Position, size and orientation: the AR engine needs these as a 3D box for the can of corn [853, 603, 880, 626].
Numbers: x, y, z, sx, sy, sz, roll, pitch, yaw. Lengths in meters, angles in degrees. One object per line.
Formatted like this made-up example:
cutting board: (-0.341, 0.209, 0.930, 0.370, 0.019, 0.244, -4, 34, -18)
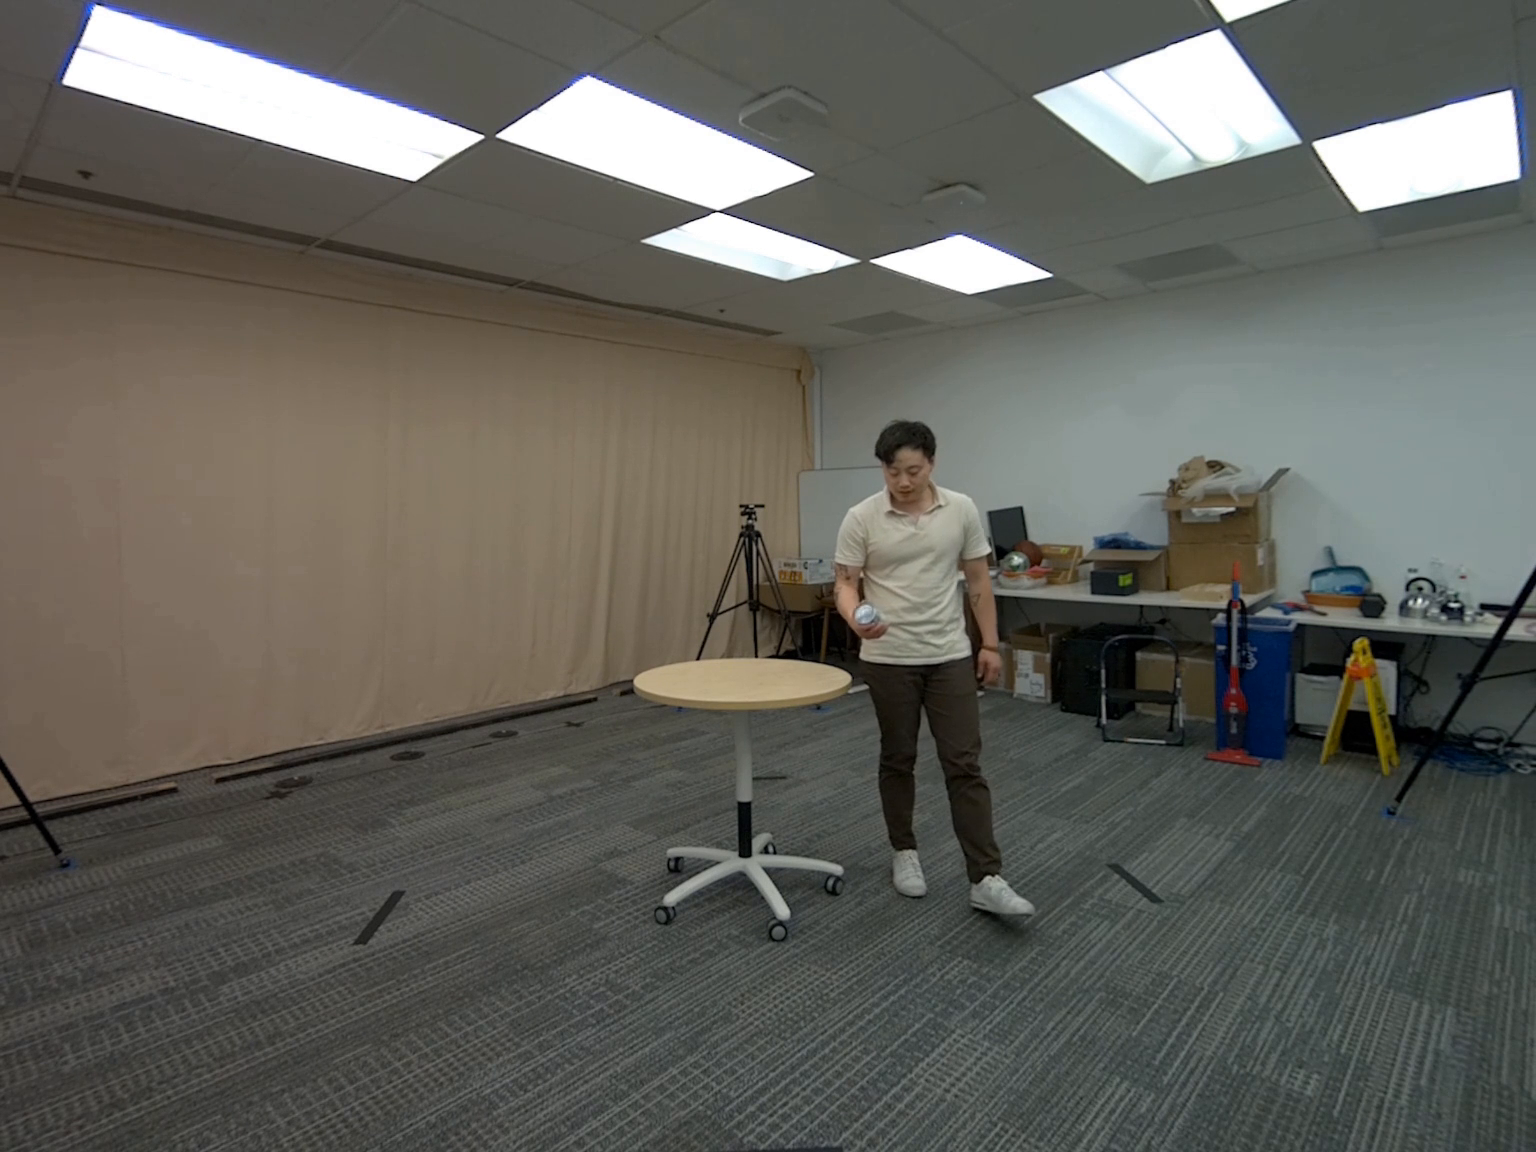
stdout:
can of corn: (0.330, 0.131, 2.723, 0.076, 0.074, 0.107, 2, -21, 37)
